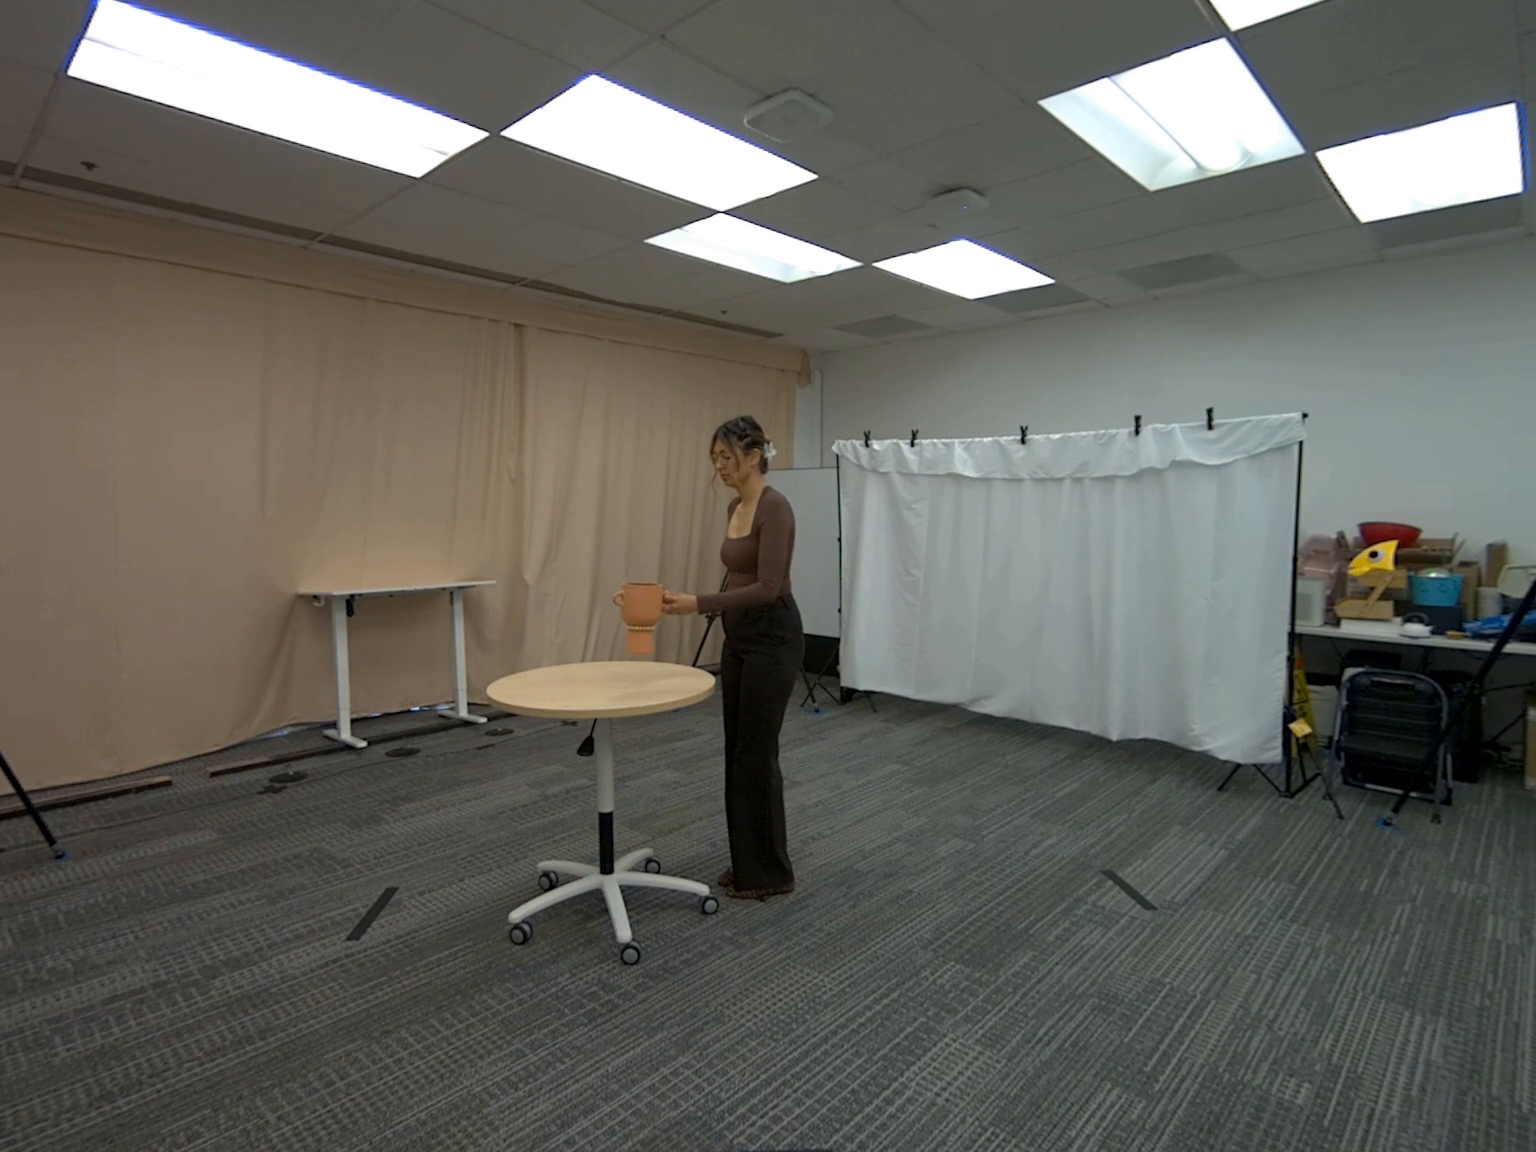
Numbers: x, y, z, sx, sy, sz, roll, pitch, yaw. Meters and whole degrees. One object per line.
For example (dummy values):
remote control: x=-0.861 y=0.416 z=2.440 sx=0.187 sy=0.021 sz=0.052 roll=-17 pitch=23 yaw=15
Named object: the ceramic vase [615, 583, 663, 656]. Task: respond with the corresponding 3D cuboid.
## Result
ceramic vase: x=-0.409 y=0.138 z=2.711 sx=0.161 sy=0.219 sz=0.133 roll=3 pitch=1 yaw=10
